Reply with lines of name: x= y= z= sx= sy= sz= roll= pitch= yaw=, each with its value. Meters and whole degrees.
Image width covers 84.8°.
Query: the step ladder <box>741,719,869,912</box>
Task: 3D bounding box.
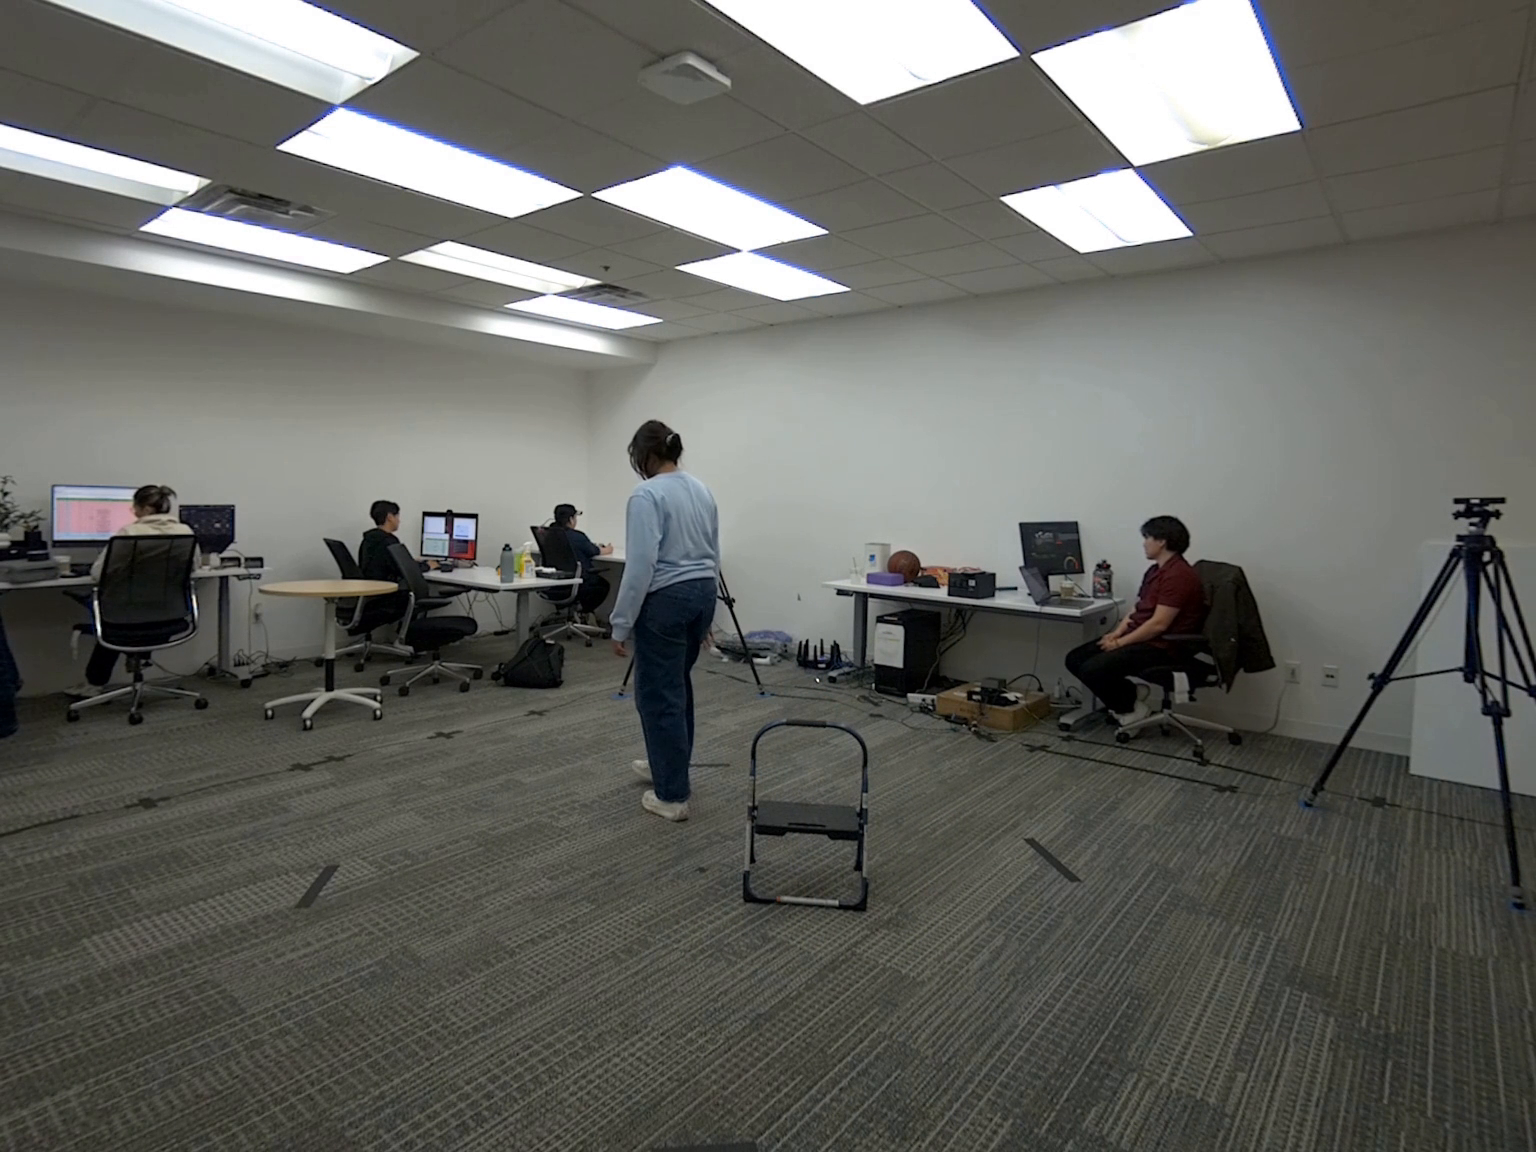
step ladder: x=0.131 y=0.784 z=2.991 sx=0.433 sy=0.604 sz=0.348 roll=1 pitch=3 yaw=4
